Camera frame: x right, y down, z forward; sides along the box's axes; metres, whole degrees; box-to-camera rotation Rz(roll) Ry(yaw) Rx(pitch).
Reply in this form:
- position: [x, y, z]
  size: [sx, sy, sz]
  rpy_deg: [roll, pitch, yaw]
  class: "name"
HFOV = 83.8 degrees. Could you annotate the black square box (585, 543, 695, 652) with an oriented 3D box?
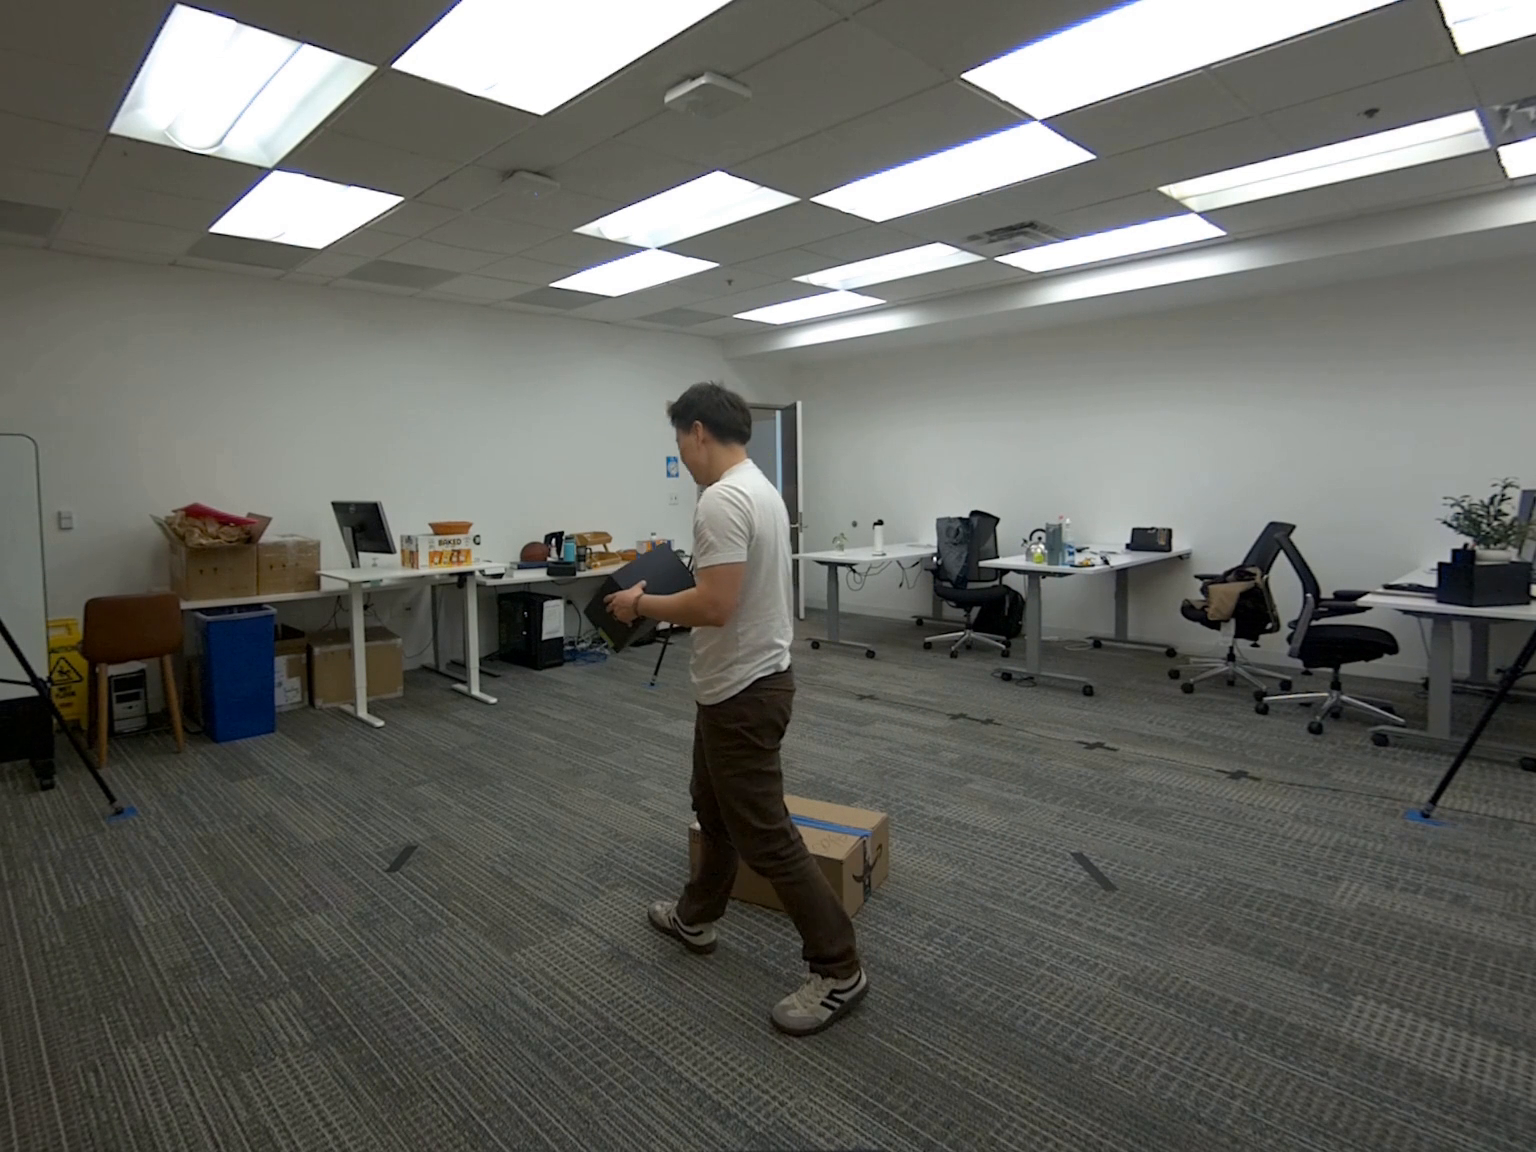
- position: [-0.354, 0.054, 2.407]
  size: [0.226, 0.157, 0.217]
  rpy_deg: [-36, -7, -43]
  class: "black square box"
